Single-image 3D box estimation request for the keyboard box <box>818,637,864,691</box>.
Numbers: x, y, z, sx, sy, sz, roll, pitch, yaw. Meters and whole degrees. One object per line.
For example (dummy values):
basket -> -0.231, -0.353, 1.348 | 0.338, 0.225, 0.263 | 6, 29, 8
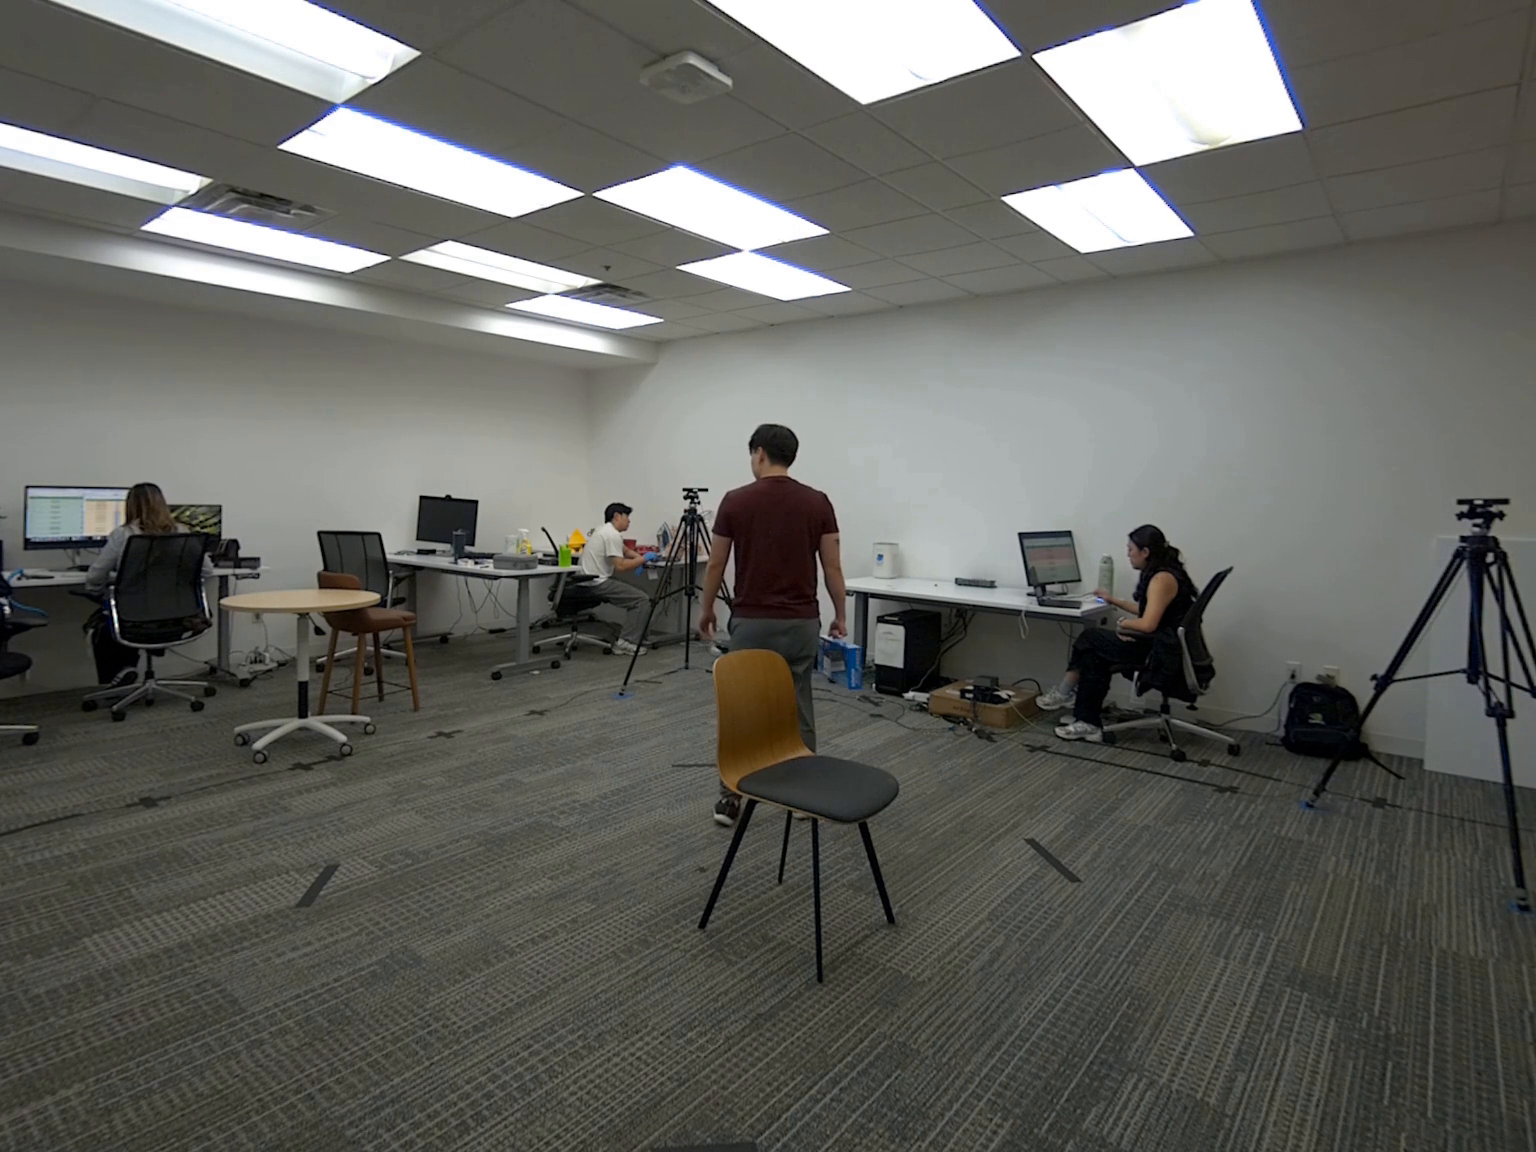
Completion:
keyboard box -> 0.293, 0.367, 3.703 | 0.058, 0.176, 0.442 | -1, 2, -13
